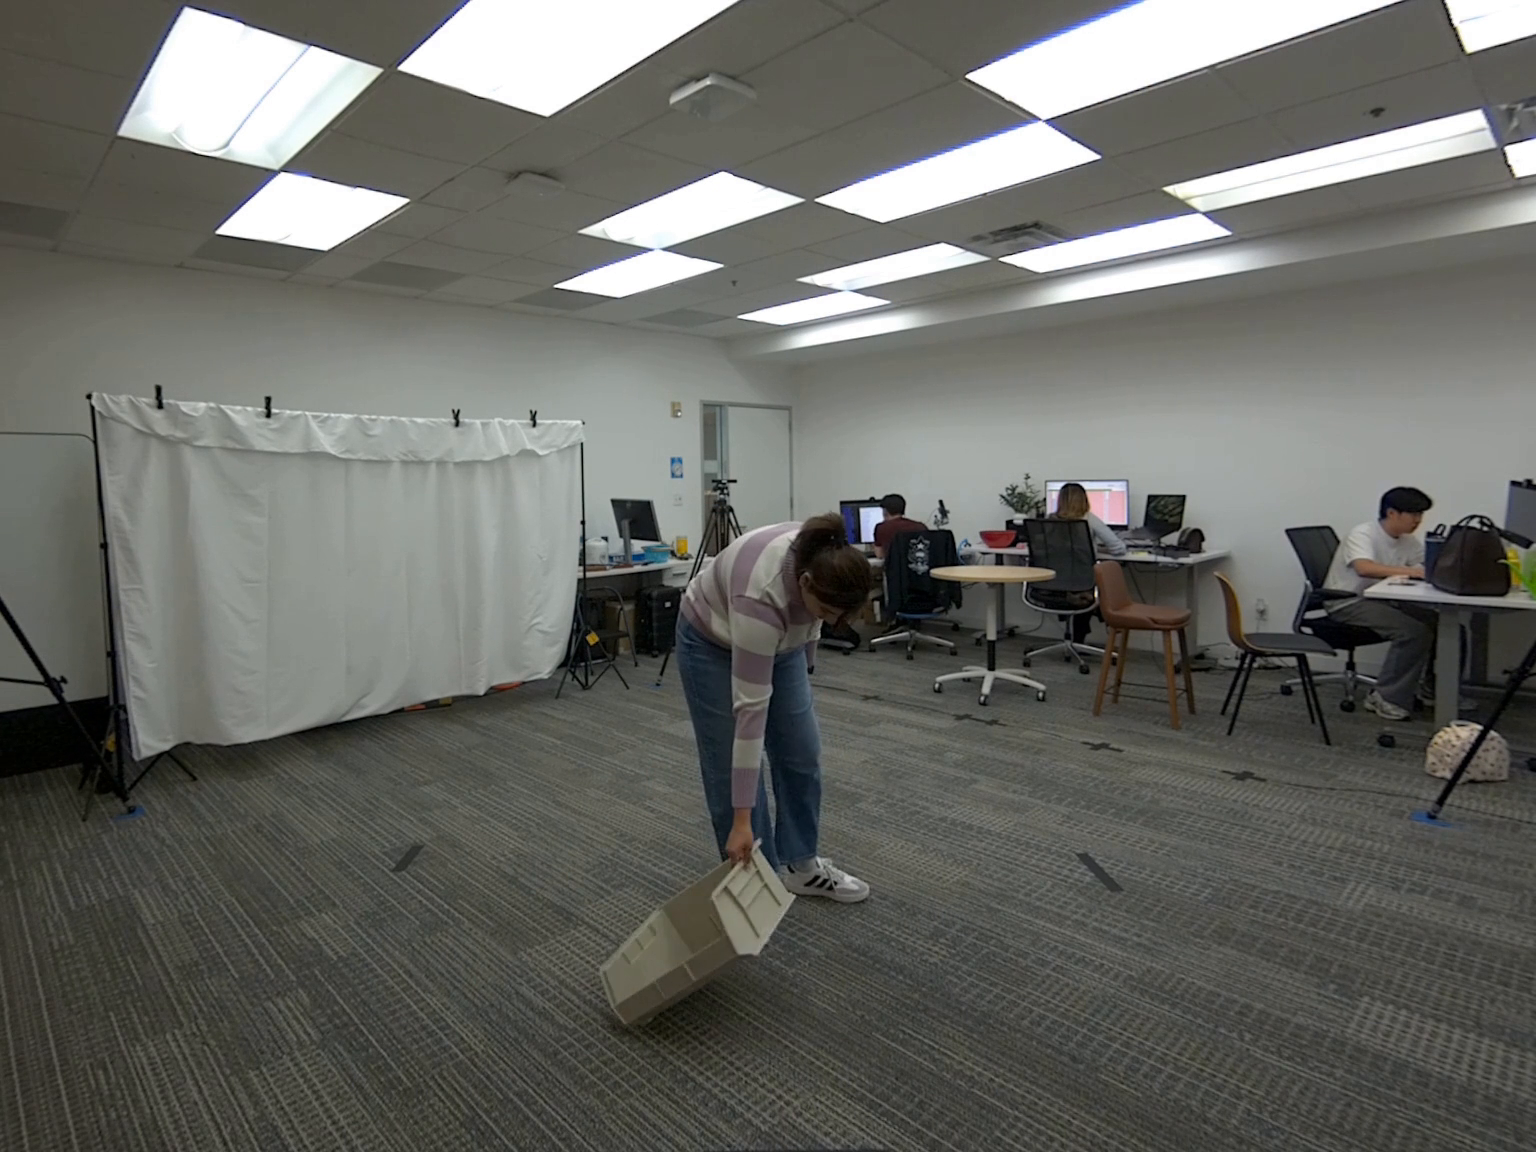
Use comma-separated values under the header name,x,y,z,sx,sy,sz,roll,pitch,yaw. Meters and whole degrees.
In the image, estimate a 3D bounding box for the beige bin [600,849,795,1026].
name,x,y,z,sx,sy,sz,roll,pitch,yaw
beige bin,-0.175,0.956,2.263,0.423,0.191,0.371,-40,-8,20
